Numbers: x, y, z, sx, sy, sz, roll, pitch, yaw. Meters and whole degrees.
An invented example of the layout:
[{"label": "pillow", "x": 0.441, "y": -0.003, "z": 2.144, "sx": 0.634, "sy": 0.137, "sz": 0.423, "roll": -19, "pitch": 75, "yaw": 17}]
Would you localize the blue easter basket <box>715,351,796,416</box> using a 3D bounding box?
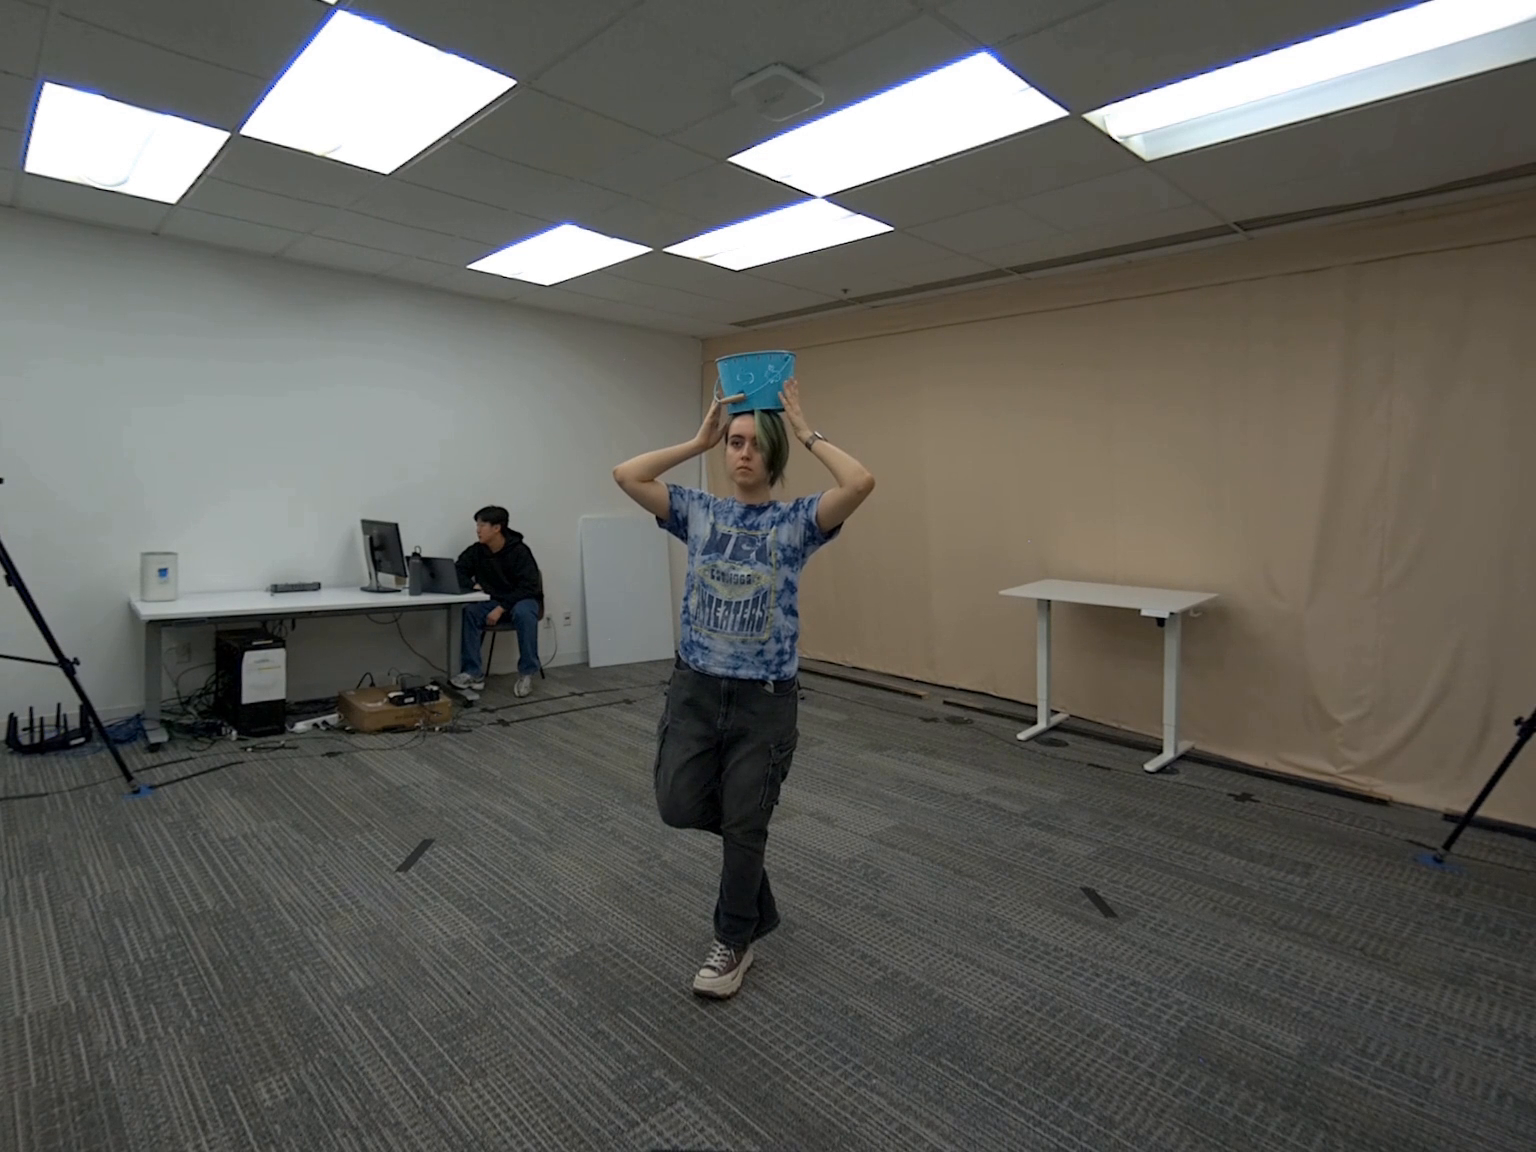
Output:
[{"label": "blue easter basket", "x": -0.026, "y": -0.531, "z": 2.376, "sx": 0.243, "sy": 0.155, "sz": 0.244, "roll": -4, "pitch": 4, "yaw": -1}]
